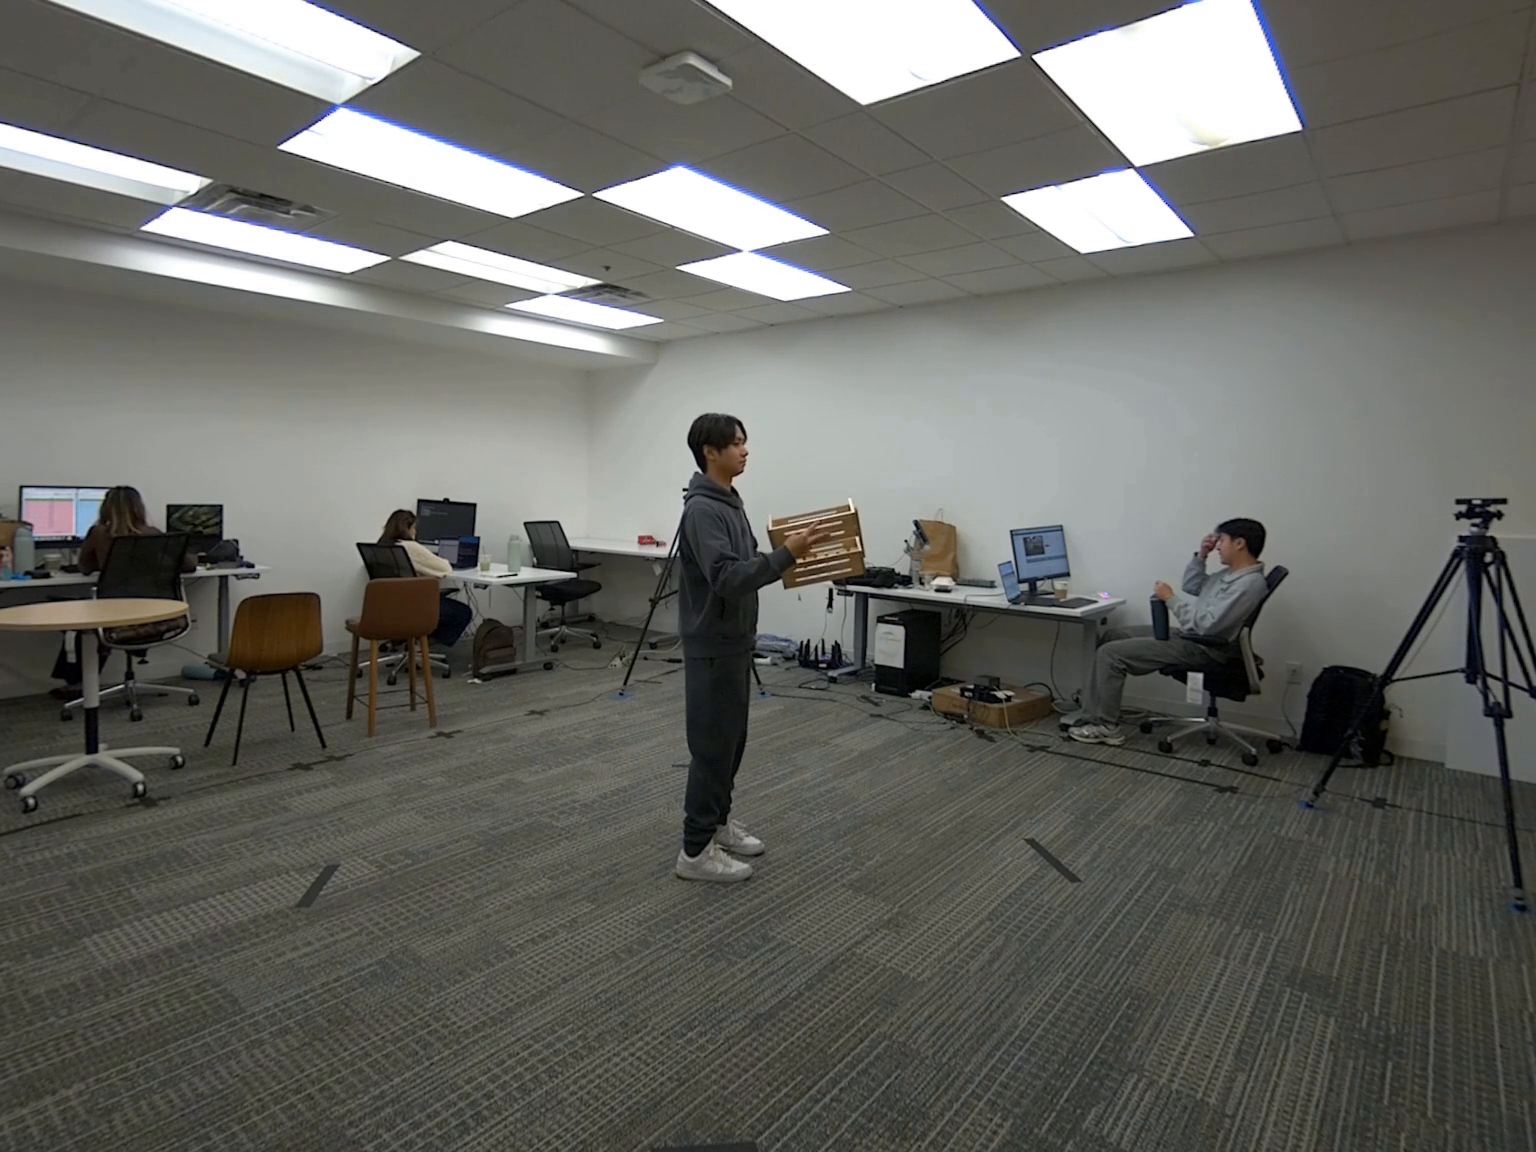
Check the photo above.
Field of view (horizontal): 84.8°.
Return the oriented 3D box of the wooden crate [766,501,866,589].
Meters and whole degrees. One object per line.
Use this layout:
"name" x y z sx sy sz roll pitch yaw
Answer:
"wooden crate" 0.168 -0.139 3.115 0.326 0.267 0.308 -12 22 6
